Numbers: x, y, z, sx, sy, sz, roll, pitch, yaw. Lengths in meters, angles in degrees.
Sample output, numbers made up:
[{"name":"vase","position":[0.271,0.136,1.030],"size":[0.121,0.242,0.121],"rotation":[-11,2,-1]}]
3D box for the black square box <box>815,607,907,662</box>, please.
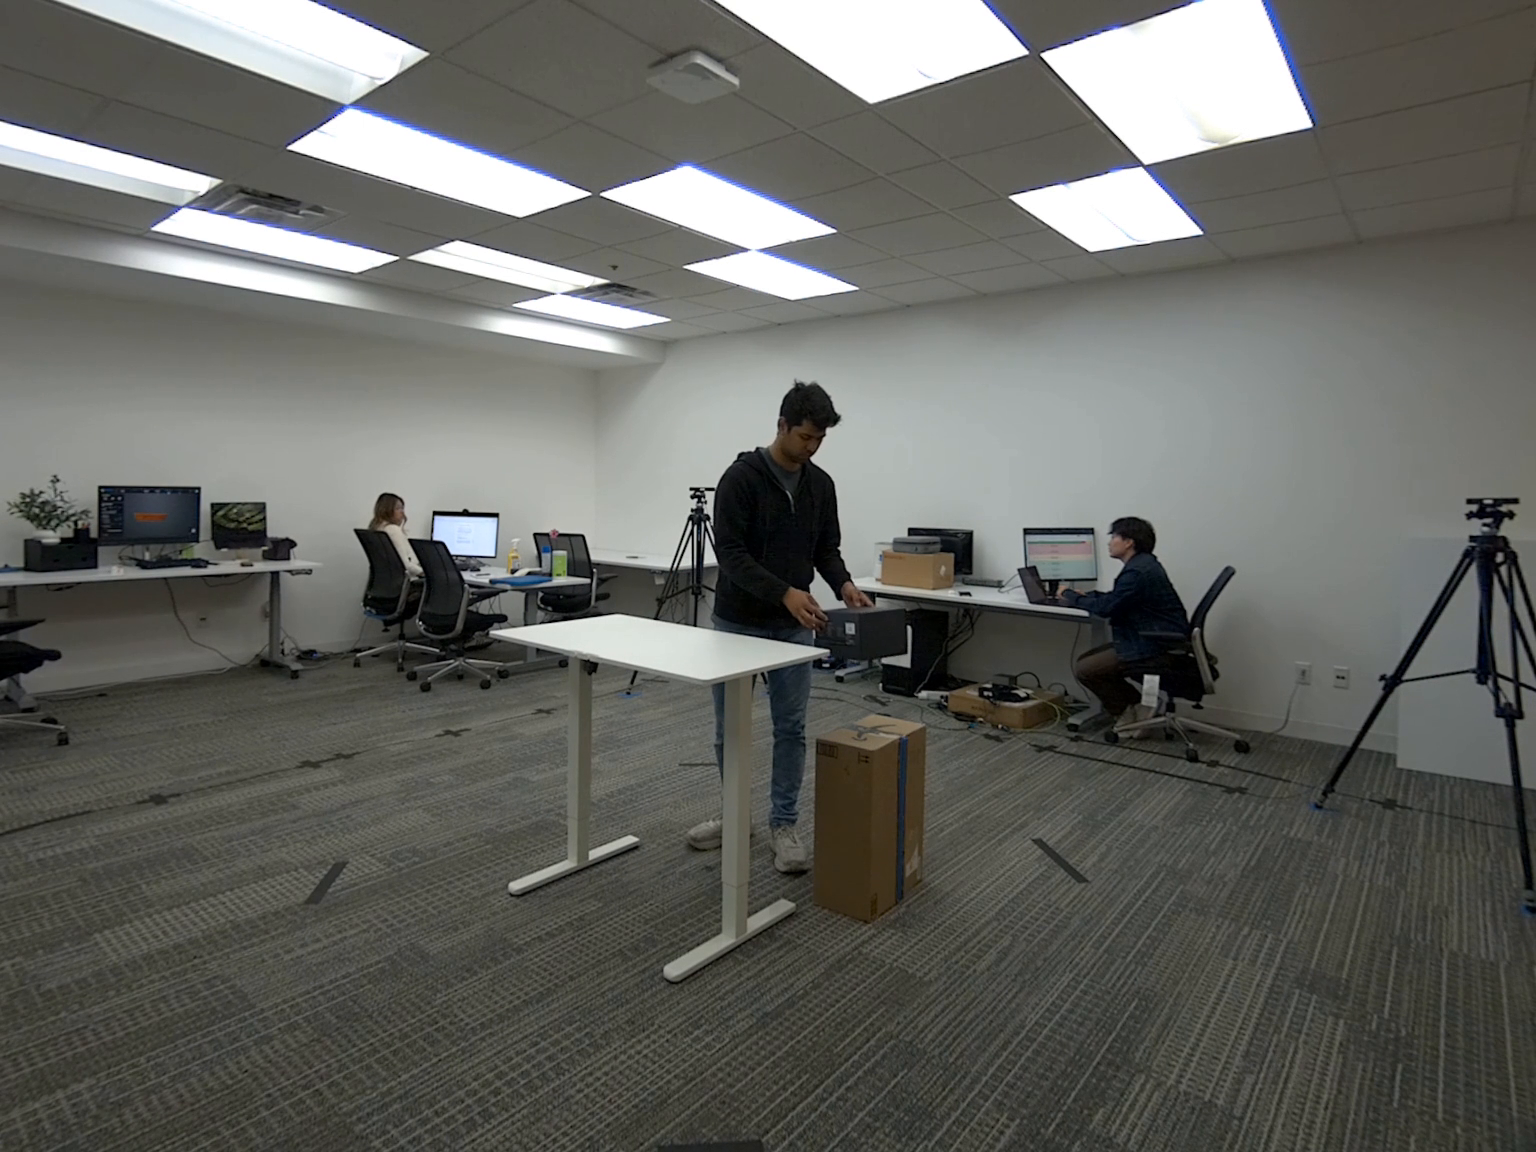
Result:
[{"name":"black square box","position":[0.296,0.190,2.873],"size":[0.221,0.156,0.223],"rotation":[-4,1,-38]}]
